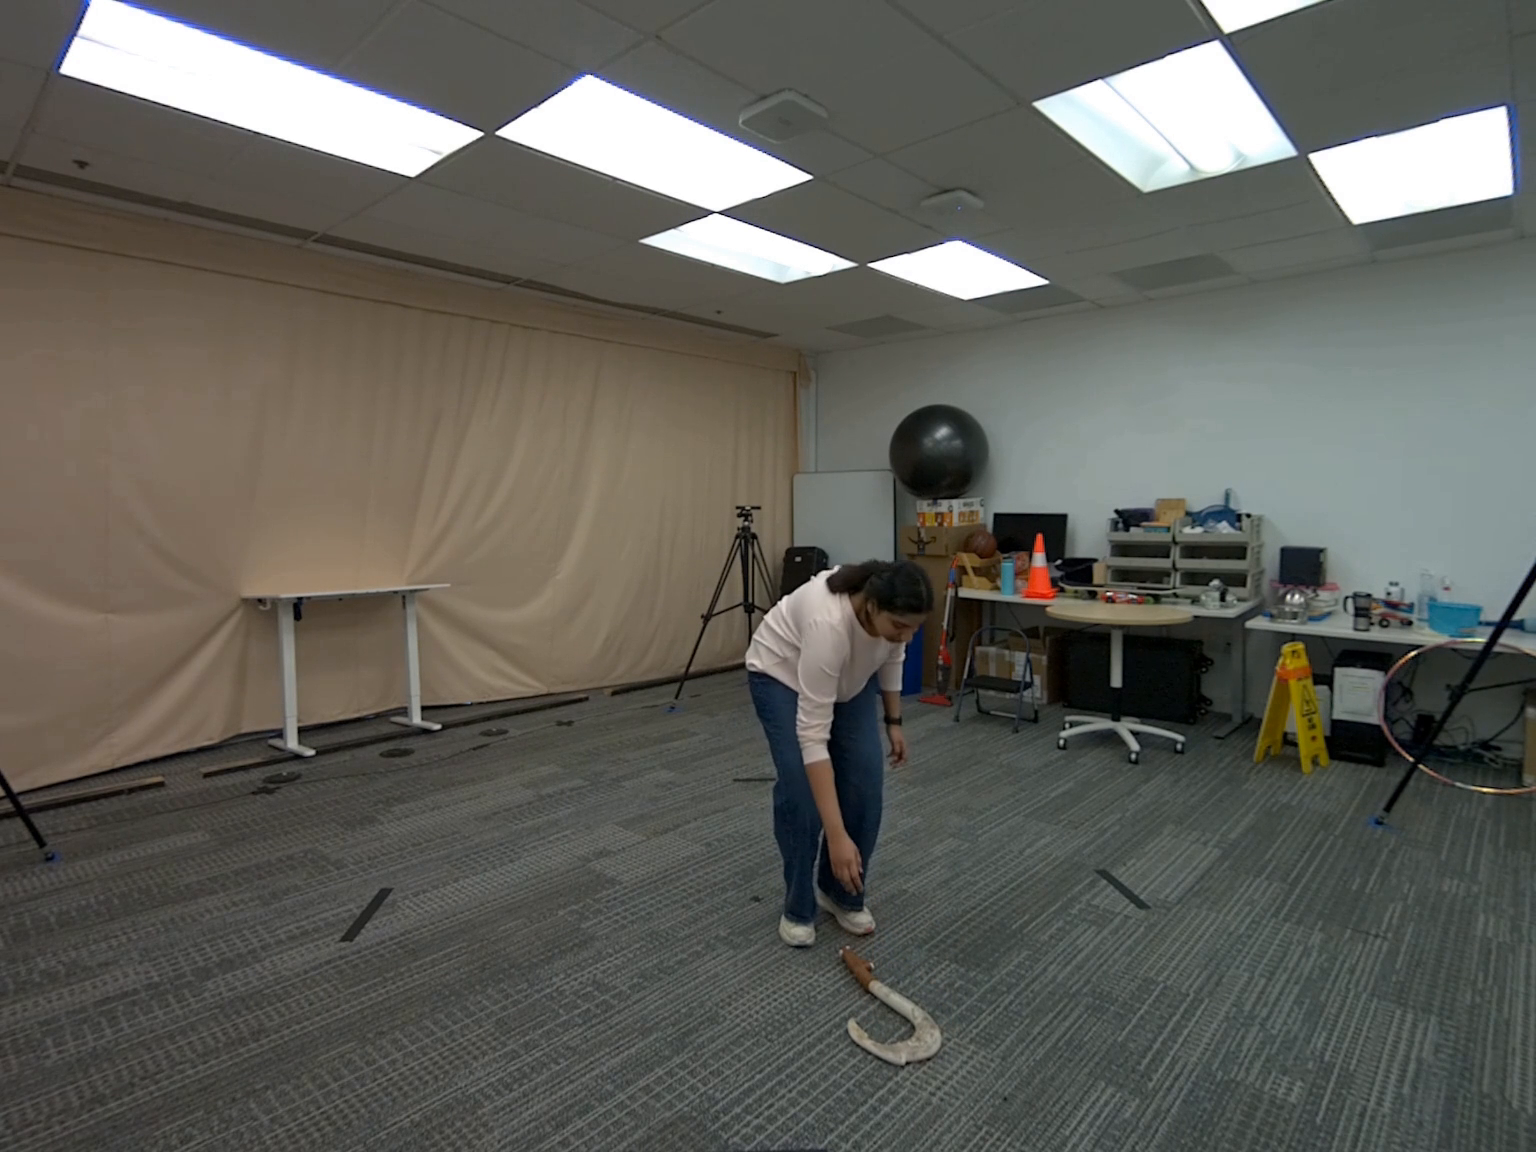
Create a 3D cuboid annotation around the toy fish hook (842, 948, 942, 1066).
[{"bbox_3d":[0.279,1.173,2.333,0.220,0.048,0.518,-1,5,-21],"label":"toy fish hook"}]
